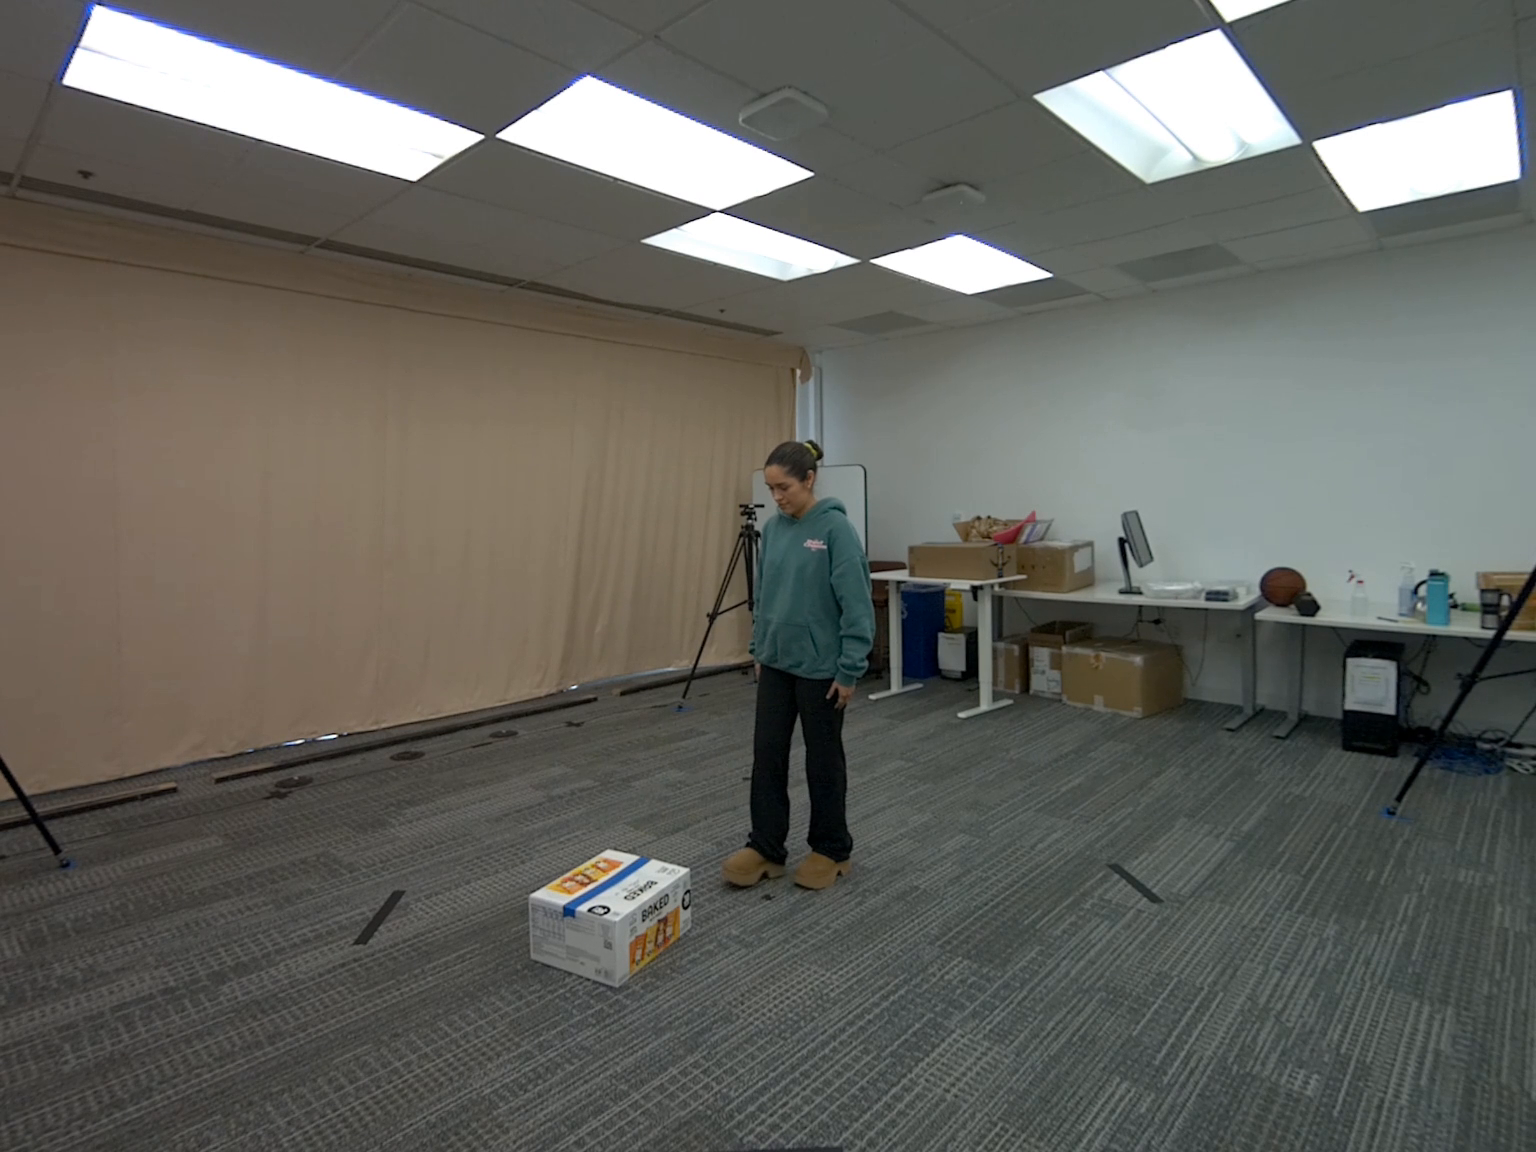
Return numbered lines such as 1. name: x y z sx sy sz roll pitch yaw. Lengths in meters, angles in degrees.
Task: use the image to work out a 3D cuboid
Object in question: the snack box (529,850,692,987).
1. snack box: -0.494 1.076 2.680 0.350 0.205 0.395 1 5 29
